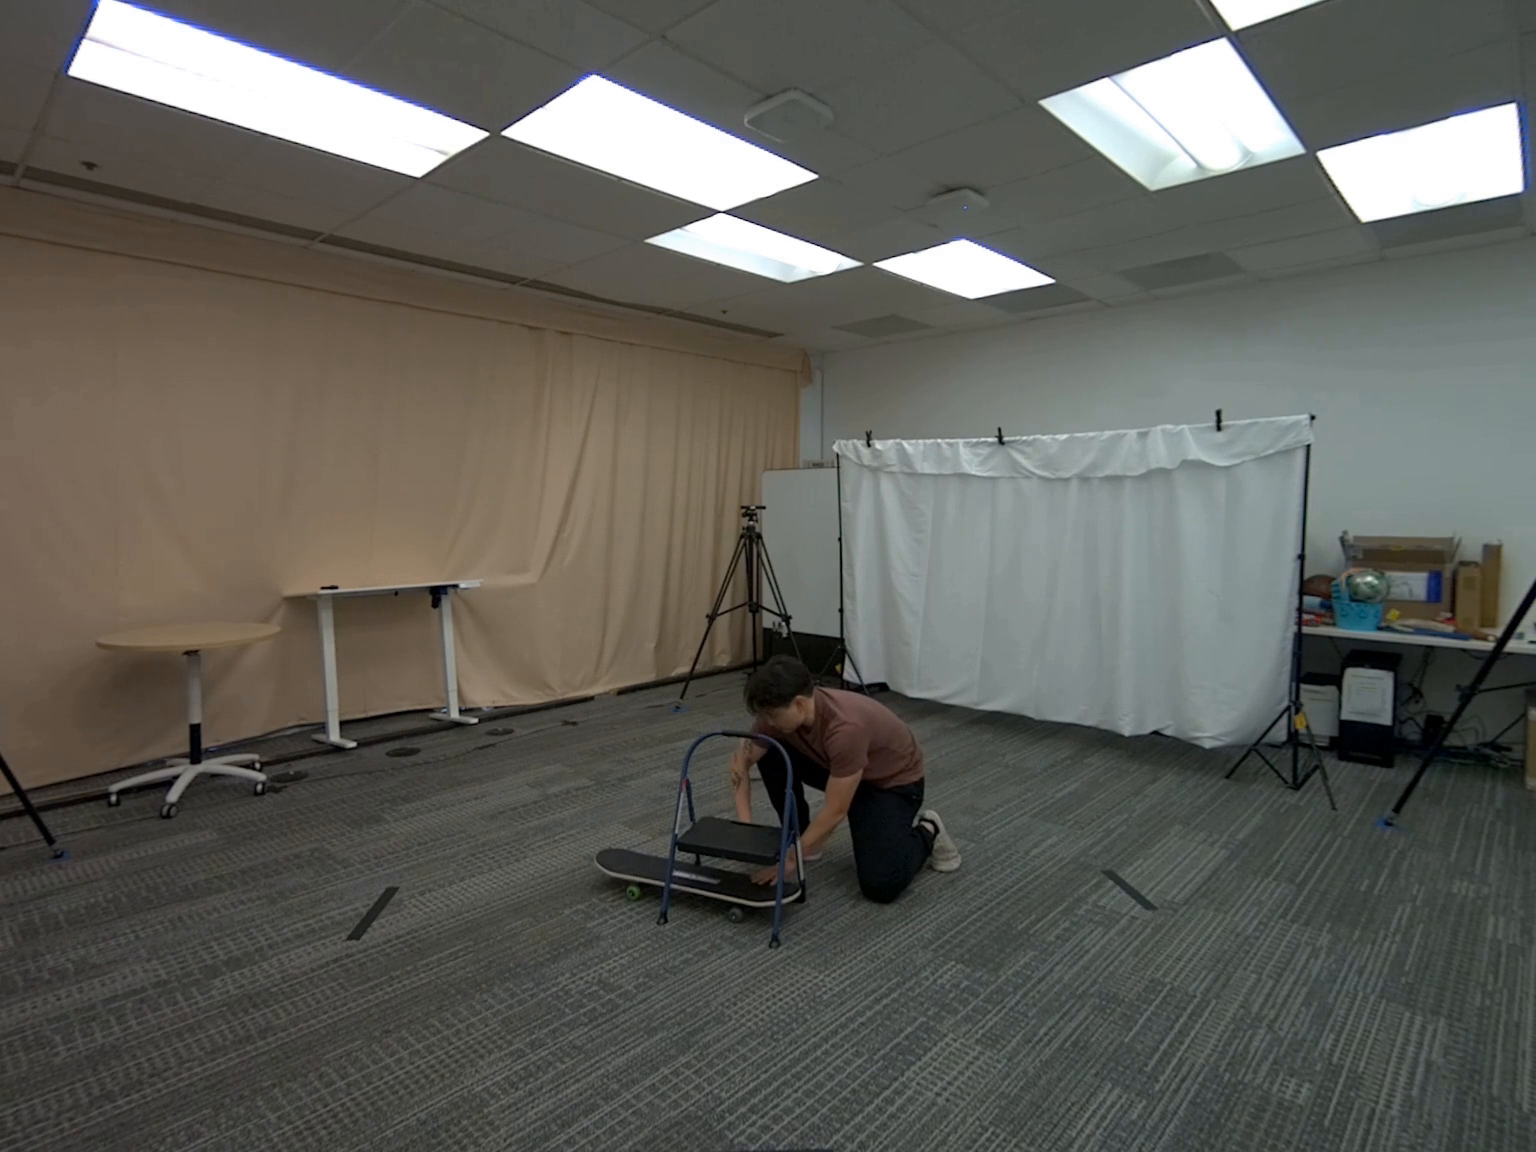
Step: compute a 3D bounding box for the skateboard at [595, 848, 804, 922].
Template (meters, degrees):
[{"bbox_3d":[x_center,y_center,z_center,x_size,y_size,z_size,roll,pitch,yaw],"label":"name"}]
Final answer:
[{"bbox_3d":[-0.267,1.090,2.972,0.804,0.110,0.189,1,3,23],"label":"skateboard"}]
